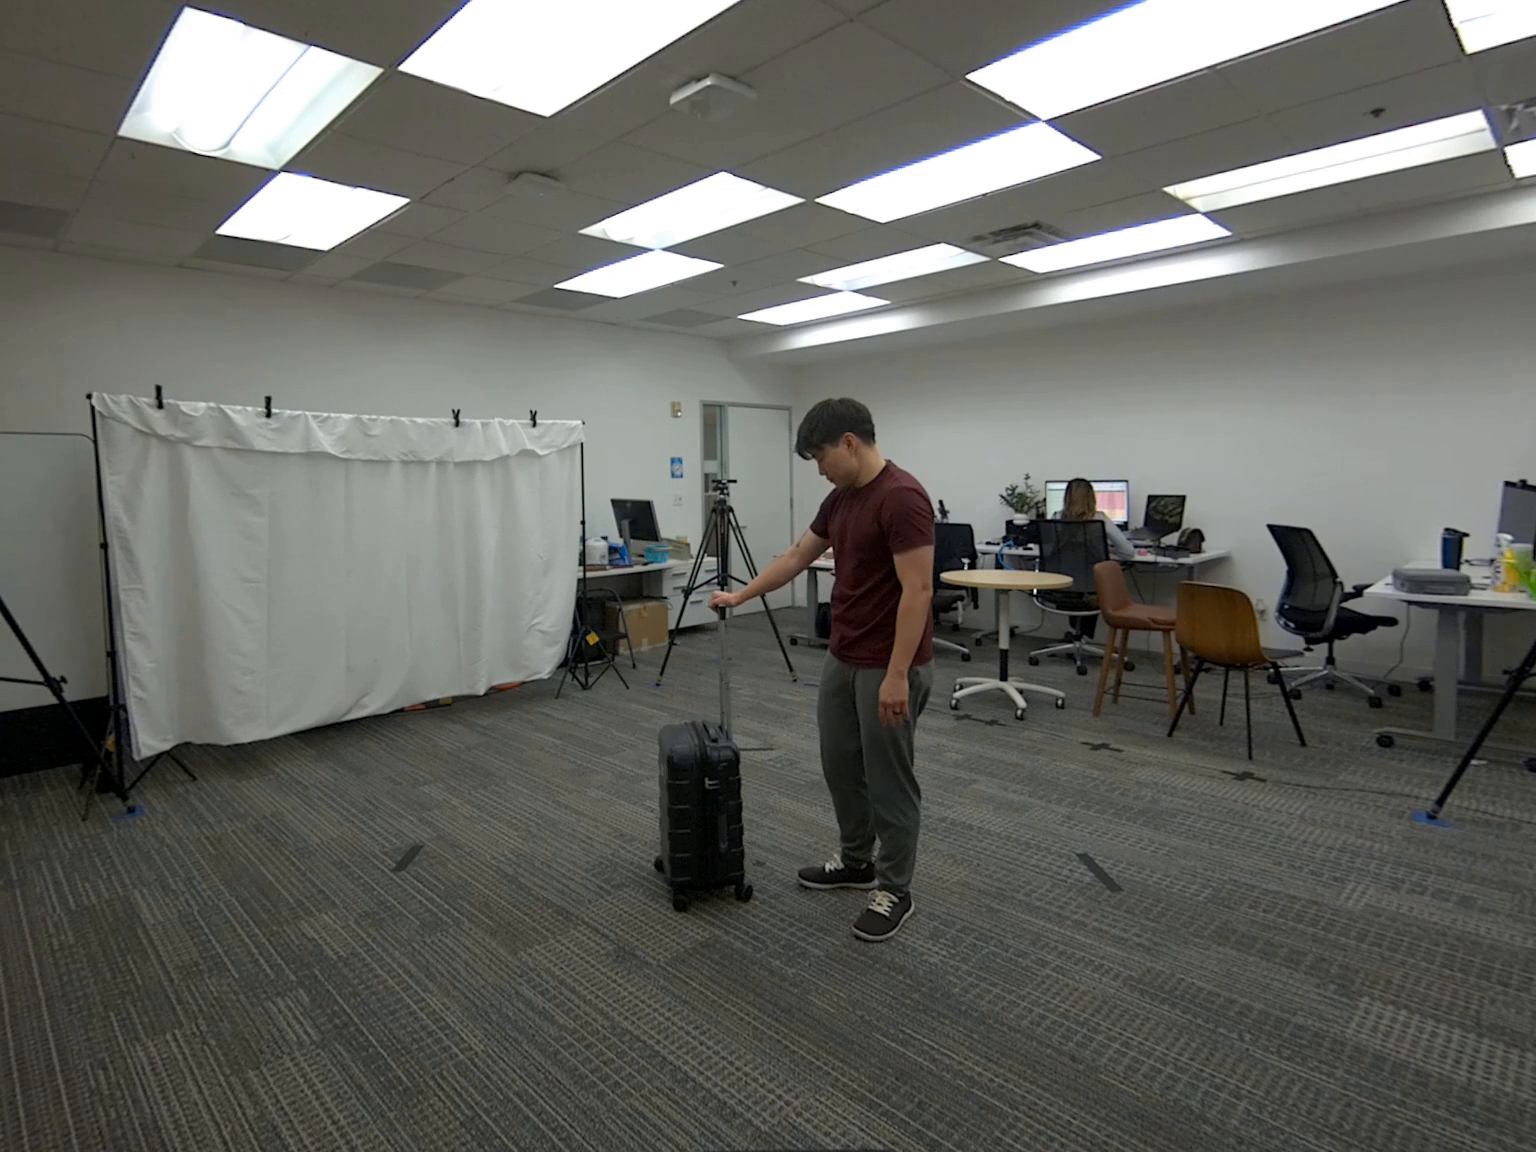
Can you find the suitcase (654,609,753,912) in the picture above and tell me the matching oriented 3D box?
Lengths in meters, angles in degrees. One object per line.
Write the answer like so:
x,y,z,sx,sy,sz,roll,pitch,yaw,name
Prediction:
-0.239,0.596,2.923,0.254,0.974,0.390,-4,5,-14,suitcase
